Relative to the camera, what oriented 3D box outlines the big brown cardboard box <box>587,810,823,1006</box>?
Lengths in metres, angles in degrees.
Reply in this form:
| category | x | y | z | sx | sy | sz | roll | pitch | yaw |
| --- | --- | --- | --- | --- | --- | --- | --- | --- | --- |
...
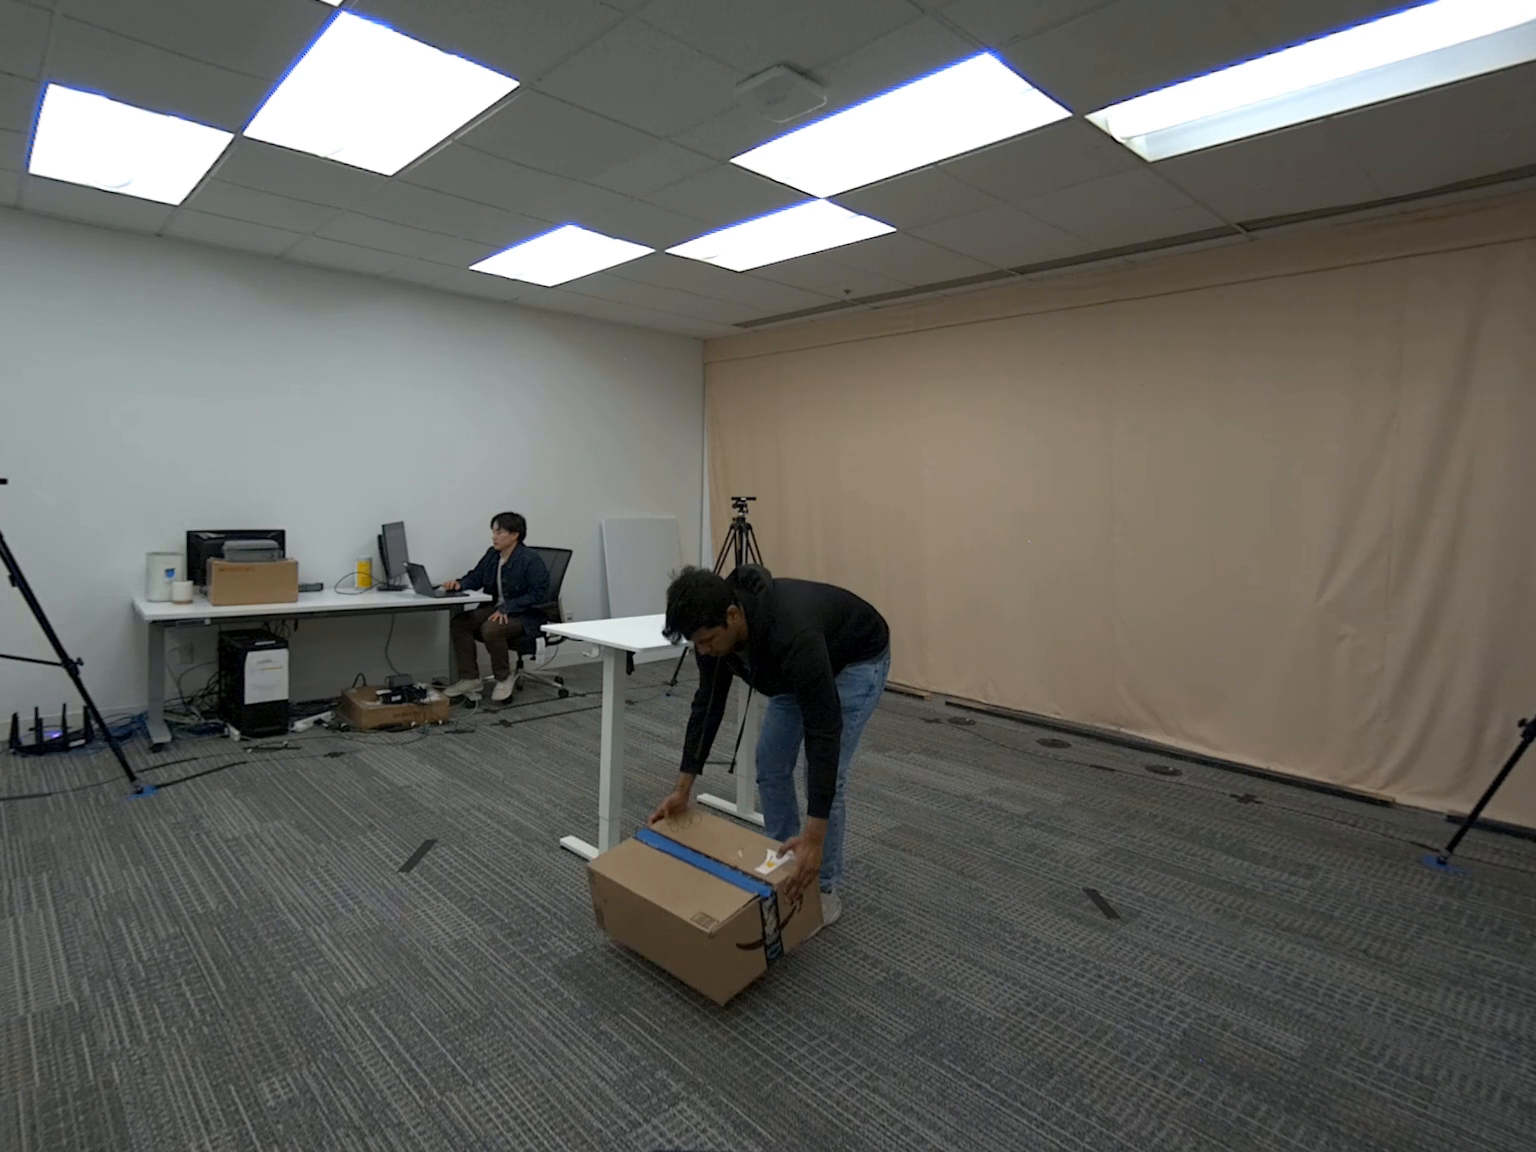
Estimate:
| category | x | y | z | sx | sy | sz | roll | pitch | yaw |
| --- | --- | --- | --- | --- | --- | --- | --- | --- | --- |
| big brown cardboard box | -0.203 | 0.927 | 2.480 | 0.604 | 0.231 | 0.411 | 4 | 16 | 45 |
